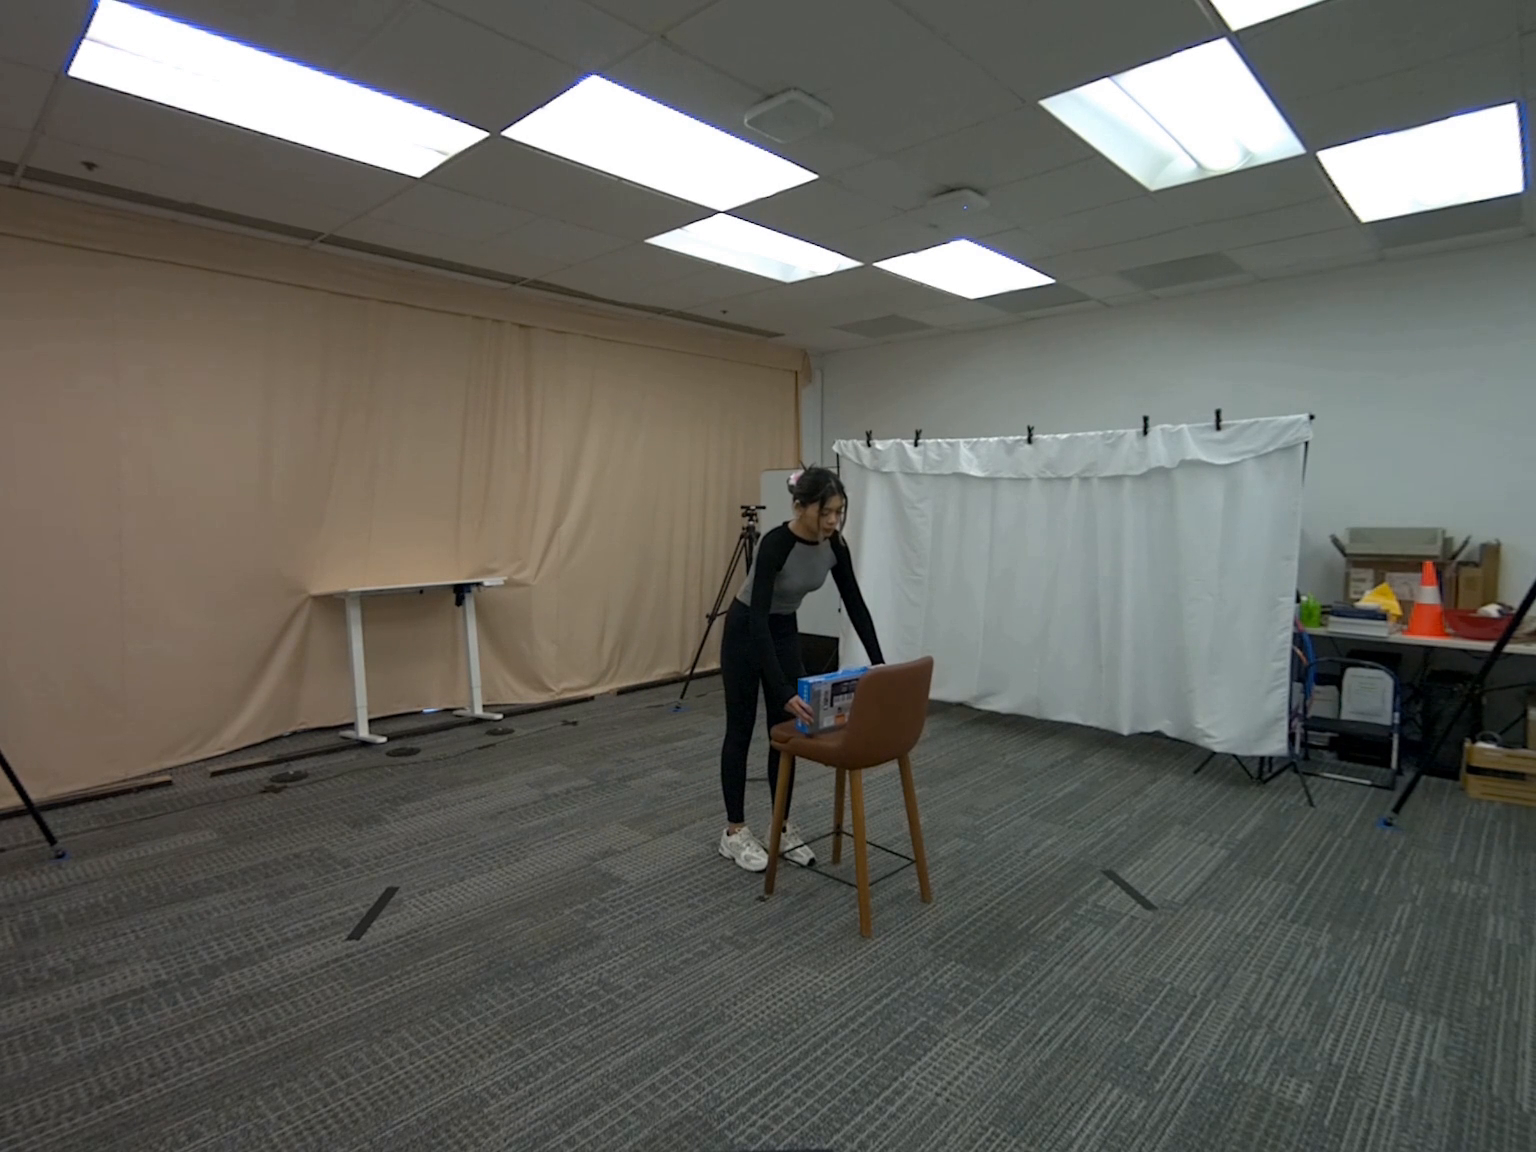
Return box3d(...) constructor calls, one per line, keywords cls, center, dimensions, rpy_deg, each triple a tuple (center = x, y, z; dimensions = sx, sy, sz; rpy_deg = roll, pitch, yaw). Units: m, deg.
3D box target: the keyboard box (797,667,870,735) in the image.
box3d(cls="keyboard box", center=(0.281, 0.427, 2.954), dimensions=(0.423, 0.175, 0.061), rpy_deg=(-4, 9, -41))
